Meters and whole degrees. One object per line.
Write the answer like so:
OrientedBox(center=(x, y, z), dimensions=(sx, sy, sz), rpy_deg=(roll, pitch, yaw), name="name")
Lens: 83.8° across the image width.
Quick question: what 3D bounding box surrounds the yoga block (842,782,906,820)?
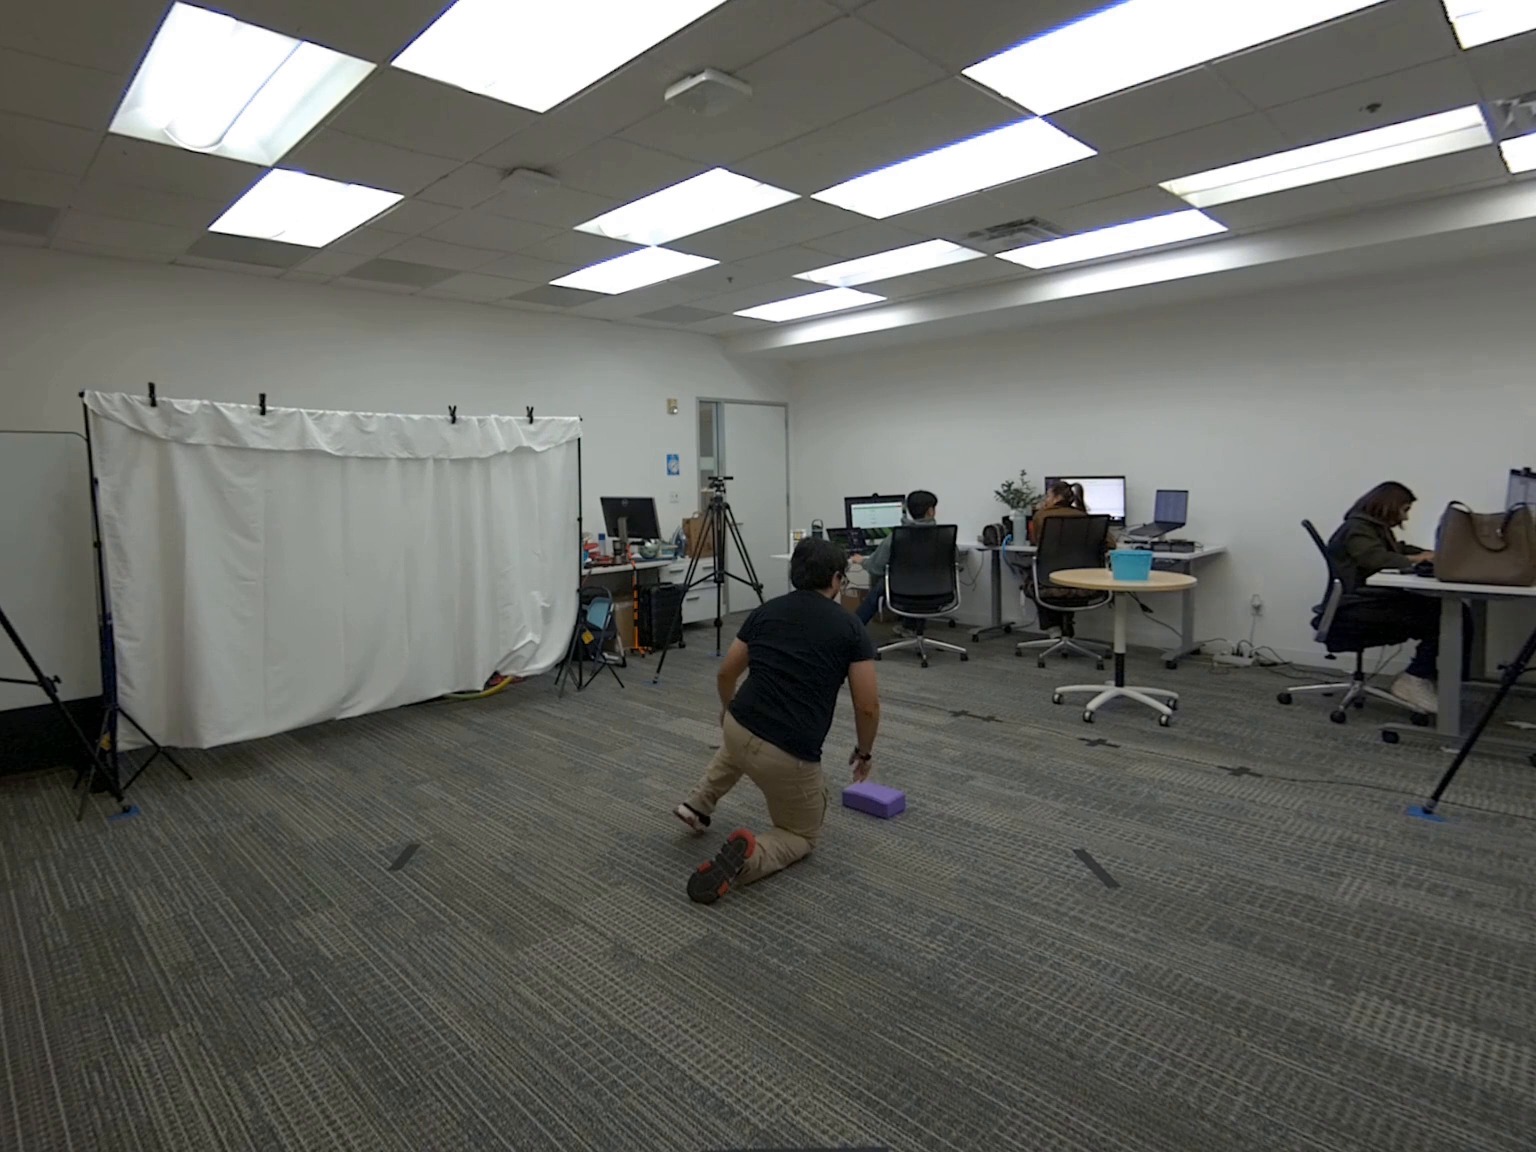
OrientedBox(center=(0.442, 0.933, 3.584), dimensions=(0.236, 0.076, 0.145), rpy_deg=(5, 9, 43), name="yoga block")
